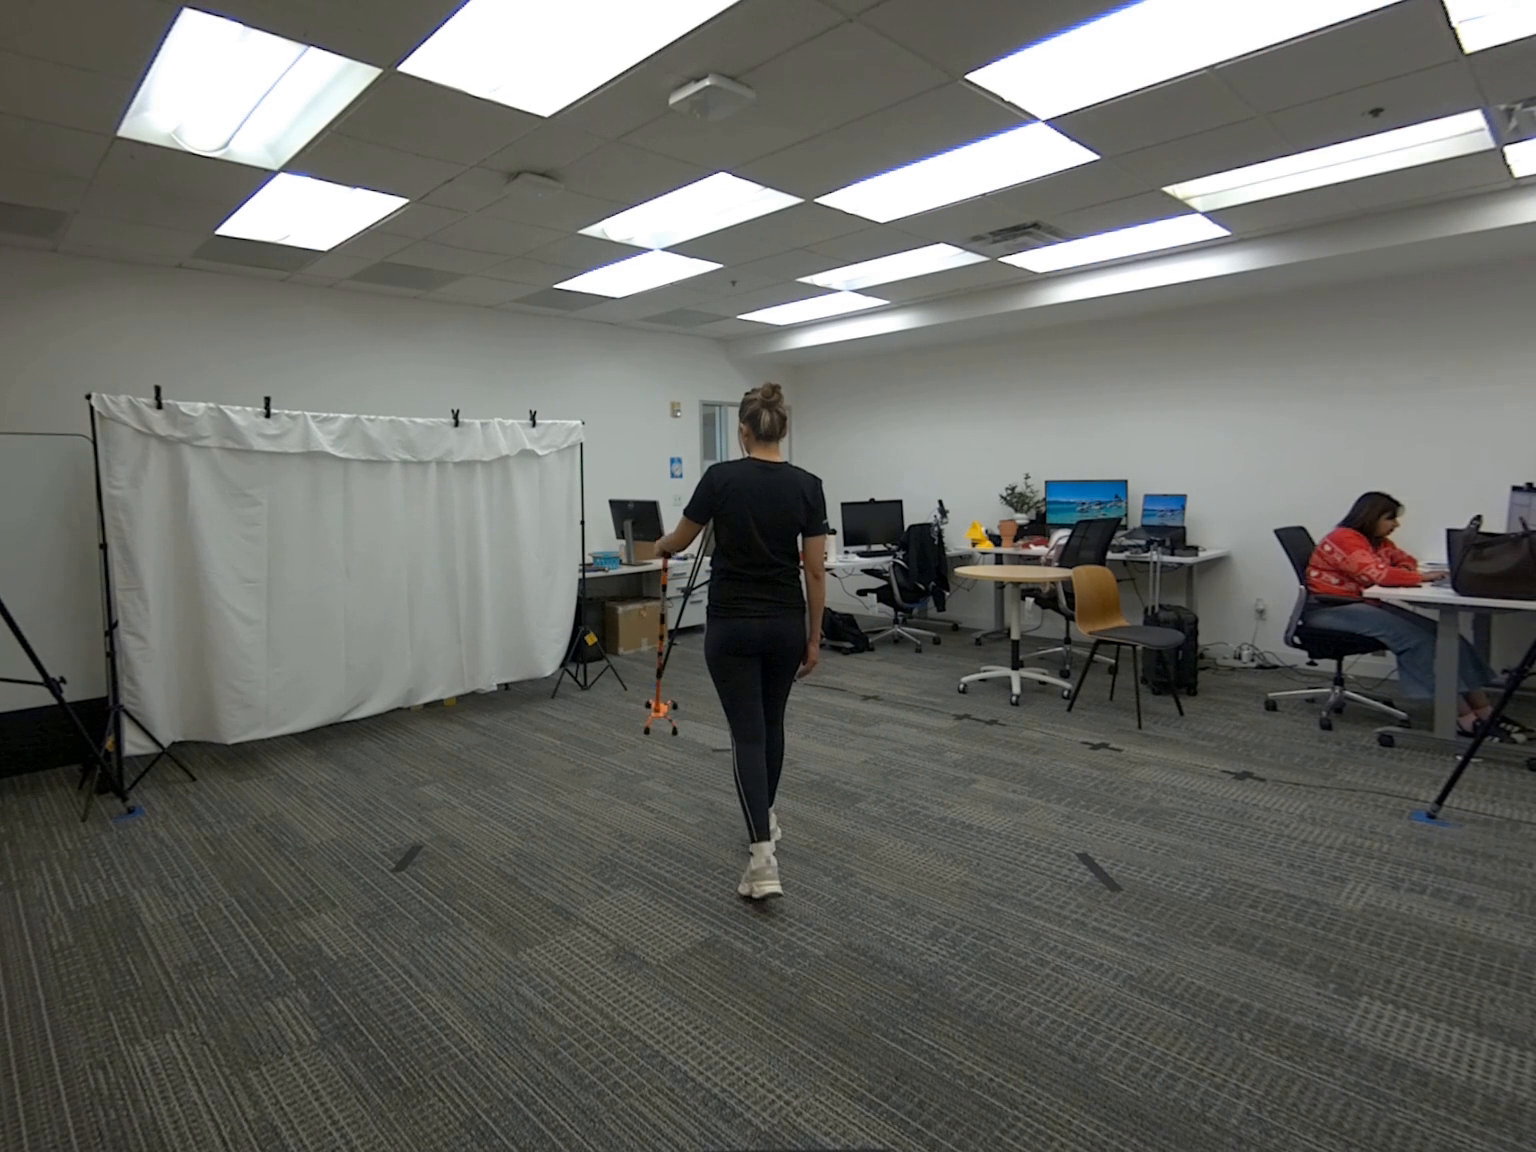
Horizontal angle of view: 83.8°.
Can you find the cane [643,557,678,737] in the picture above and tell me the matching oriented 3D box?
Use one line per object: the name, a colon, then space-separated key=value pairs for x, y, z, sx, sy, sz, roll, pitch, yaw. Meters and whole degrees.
cane: x=-0.431 y=0.271 z=3.615 sx=0.151 sy=0.890 sz=0.212 roll=3 pitch=27 yaw=-6
